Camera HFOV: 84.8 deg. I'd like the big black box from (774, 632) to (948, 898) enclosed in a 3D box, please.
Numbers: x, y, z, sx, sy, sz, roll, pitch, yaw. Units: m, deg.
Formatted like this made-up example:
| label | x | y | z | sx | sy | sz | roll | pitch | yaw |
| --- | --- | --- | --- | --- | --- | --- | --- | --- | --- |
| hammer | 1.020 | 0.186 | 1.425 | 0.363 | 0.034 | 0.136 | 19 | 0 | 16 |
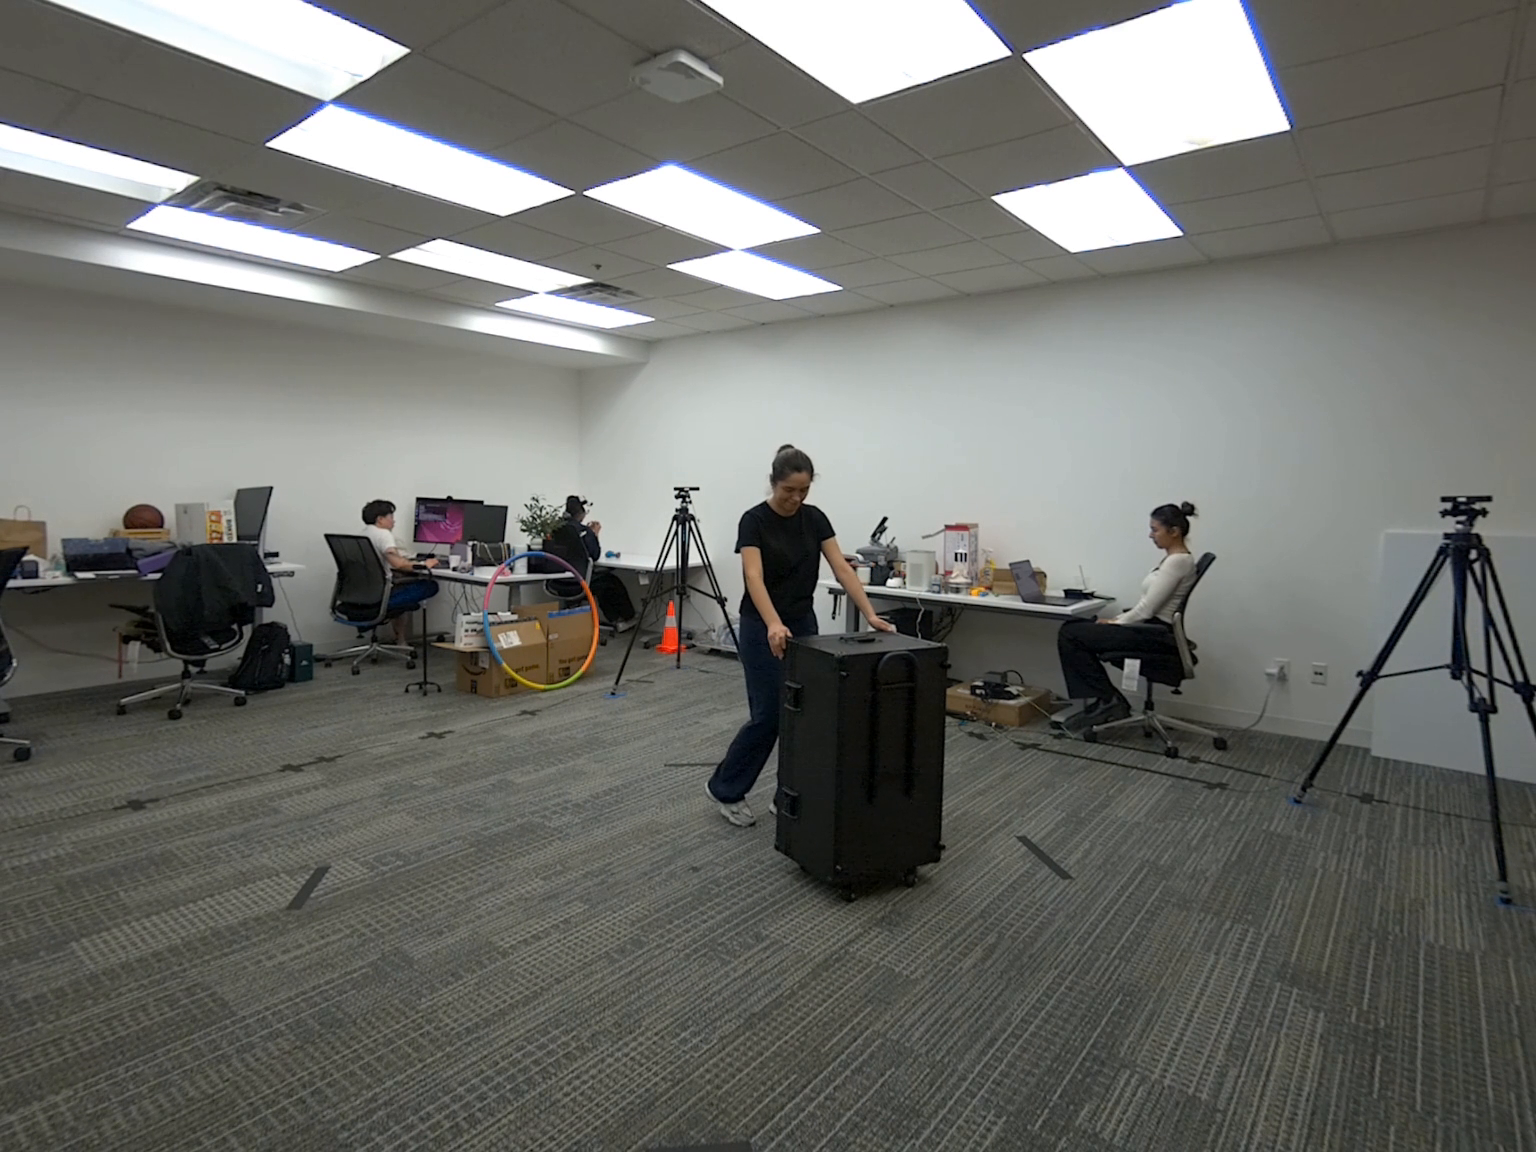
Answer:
| label | x | y | z | sx | sy | sz | roll | pitch | yaw |
| --- | --- | --- | --- | --- | --- | --- | --- | --- | --- |
| big black box | 0.358 | 0.655 | 3.069 | 0.507 | 0.859 | 0.408 | -1 | 4 | -30 |
